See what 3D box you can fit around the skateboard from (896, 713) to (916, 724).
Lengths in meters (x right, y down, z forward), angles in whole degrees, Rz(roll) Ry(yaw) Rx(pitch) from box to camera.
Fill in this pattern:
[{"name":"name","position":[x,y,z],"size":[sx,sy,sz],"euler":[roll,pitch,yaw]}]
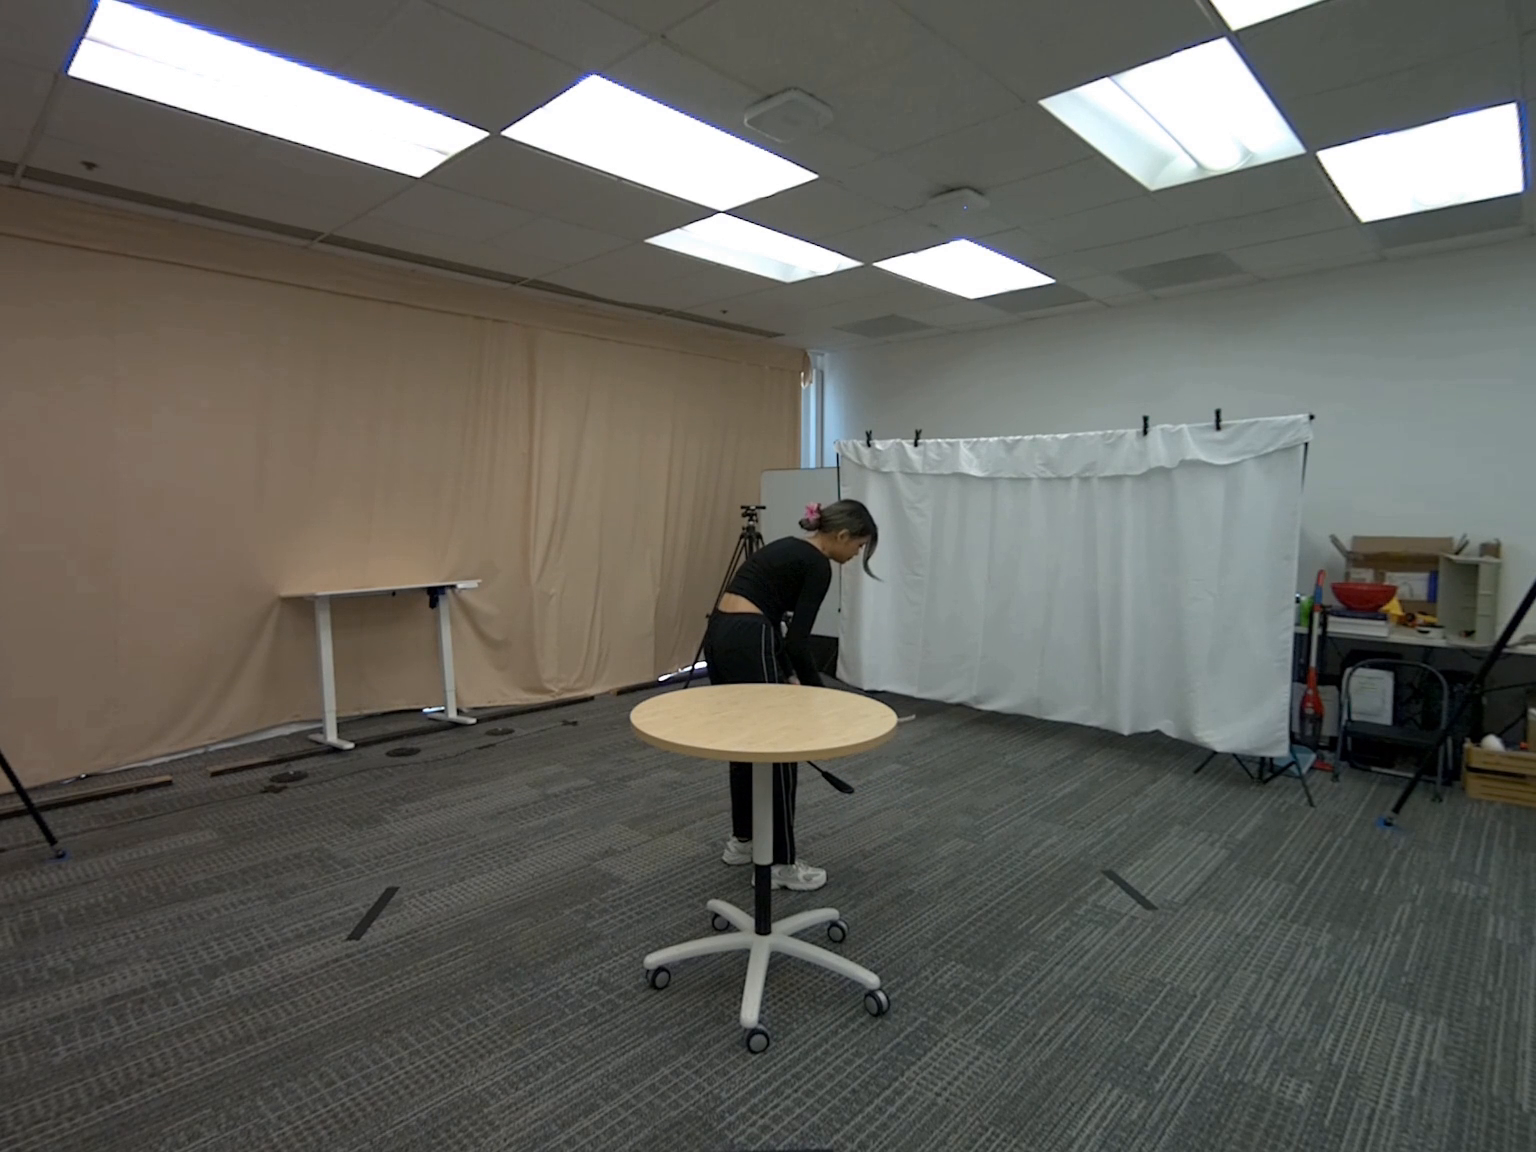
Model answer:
[{"name":"skateboard","position":[0.311,0.502,3.251],"size":[0.189,0.110,0.805],"euler":[-5,8,-22]}]
